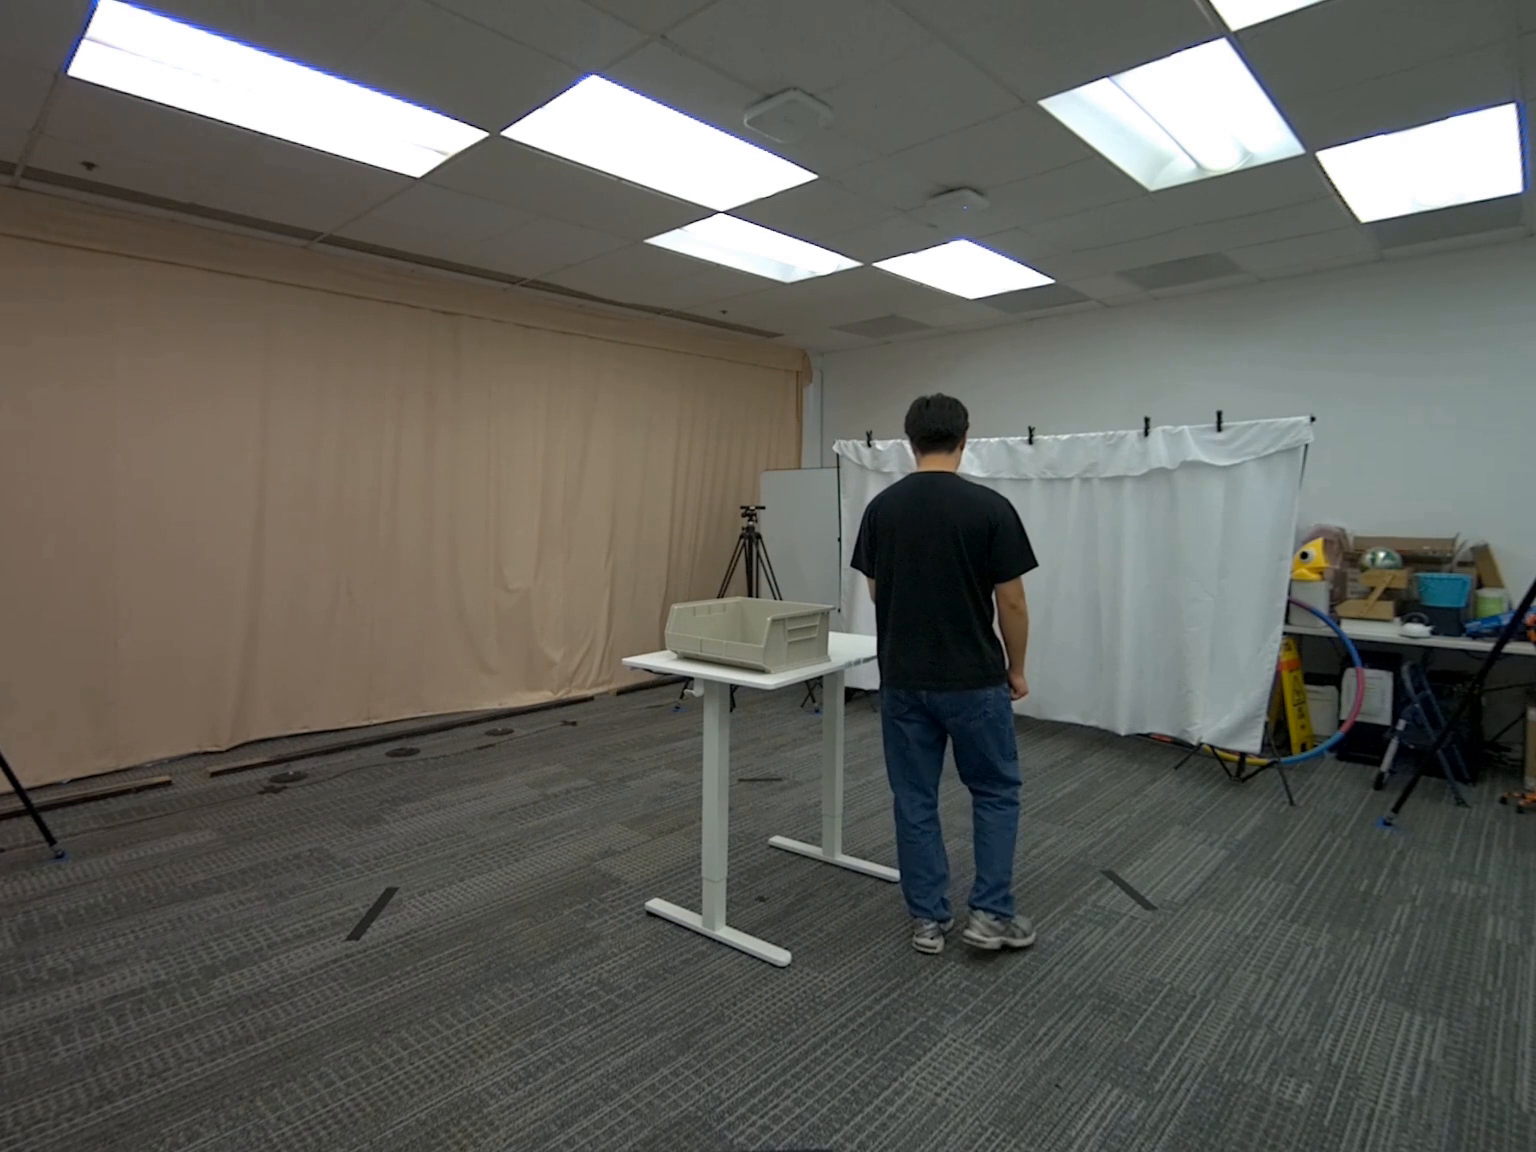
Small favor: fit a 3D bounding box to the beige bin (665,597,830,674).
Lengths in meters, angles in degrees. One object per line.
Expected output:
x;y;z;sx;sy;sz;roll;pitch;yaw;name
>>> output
-0.055;0.192;2.771;0.436;0.189;0.366;3;4;40;beige bin
